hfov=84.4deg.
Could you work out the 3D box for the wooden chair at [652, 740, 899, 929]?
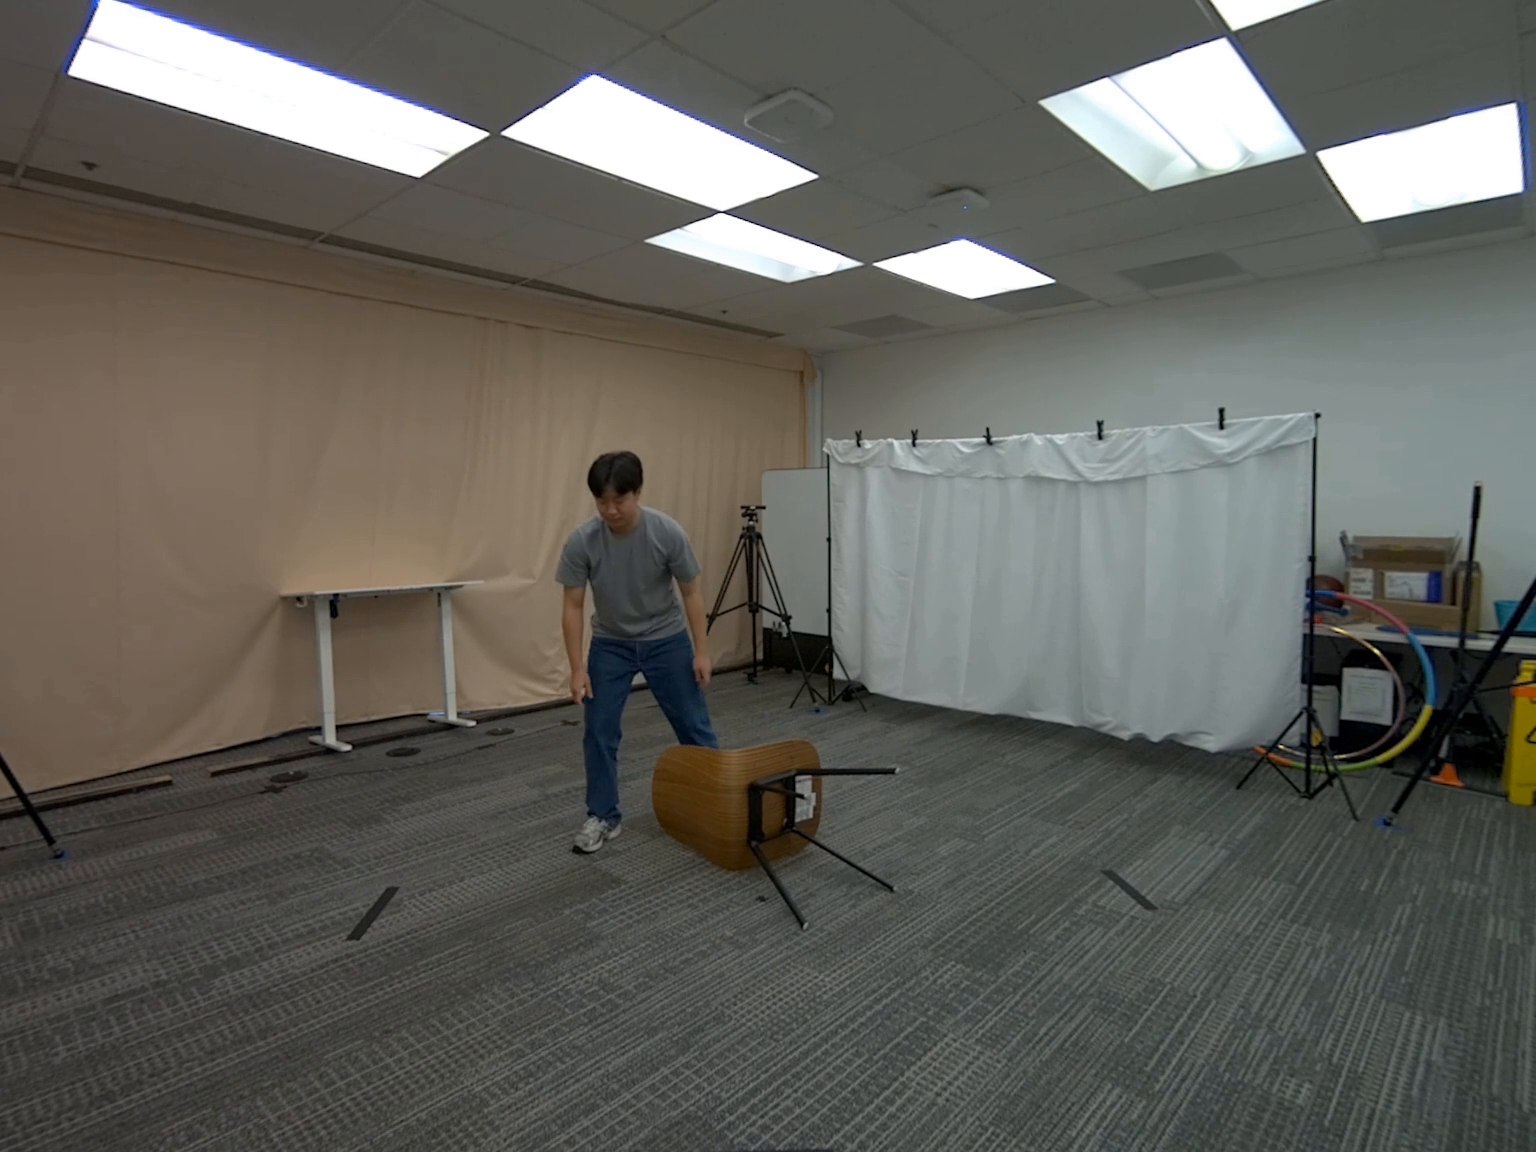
[{"bbox_3d":[0.027,0.892,3.224,0.507,0.477,0.907,-4,7,-43],"label":"wooden chair"}]
